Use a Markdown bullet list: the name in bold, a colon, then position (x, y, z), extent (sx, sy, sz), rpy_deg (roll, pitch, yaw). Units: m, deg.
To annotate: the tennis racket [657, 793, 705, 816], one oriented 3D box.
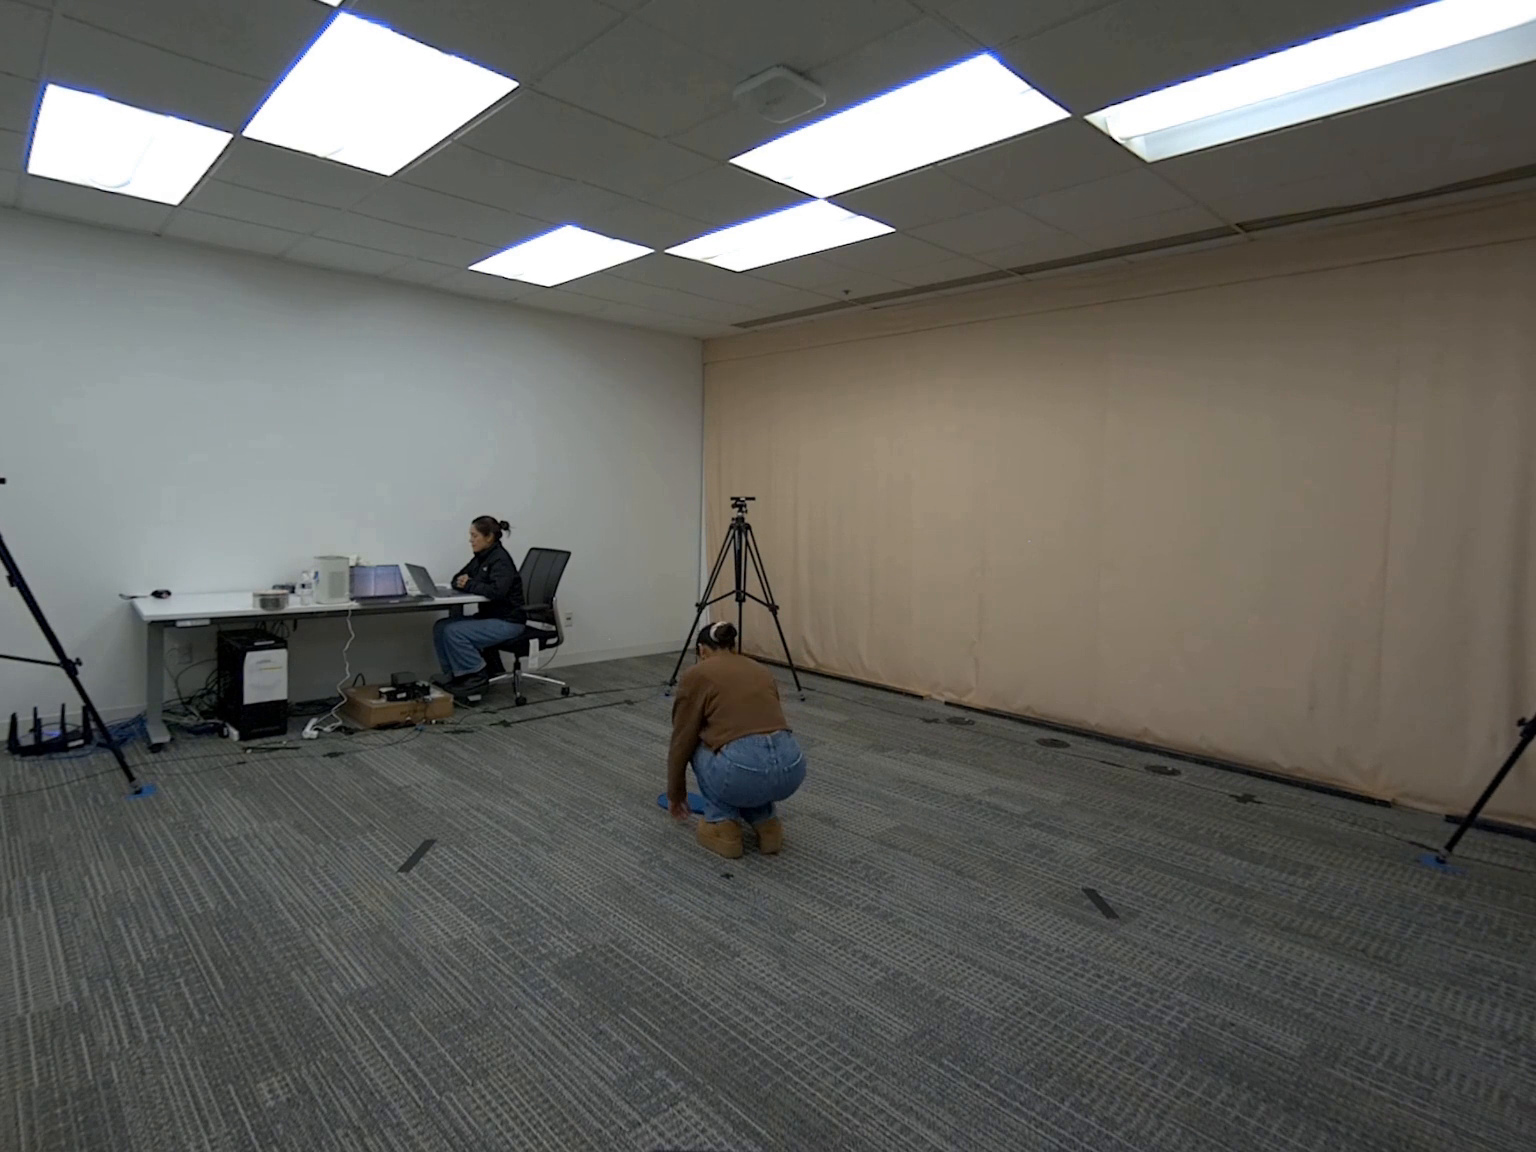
- **tennis racket**: position (-0.343, 1.029, 3.780), extent (0.209, 0.032, 0.444), rpy_deg (-3, 6, -41)
